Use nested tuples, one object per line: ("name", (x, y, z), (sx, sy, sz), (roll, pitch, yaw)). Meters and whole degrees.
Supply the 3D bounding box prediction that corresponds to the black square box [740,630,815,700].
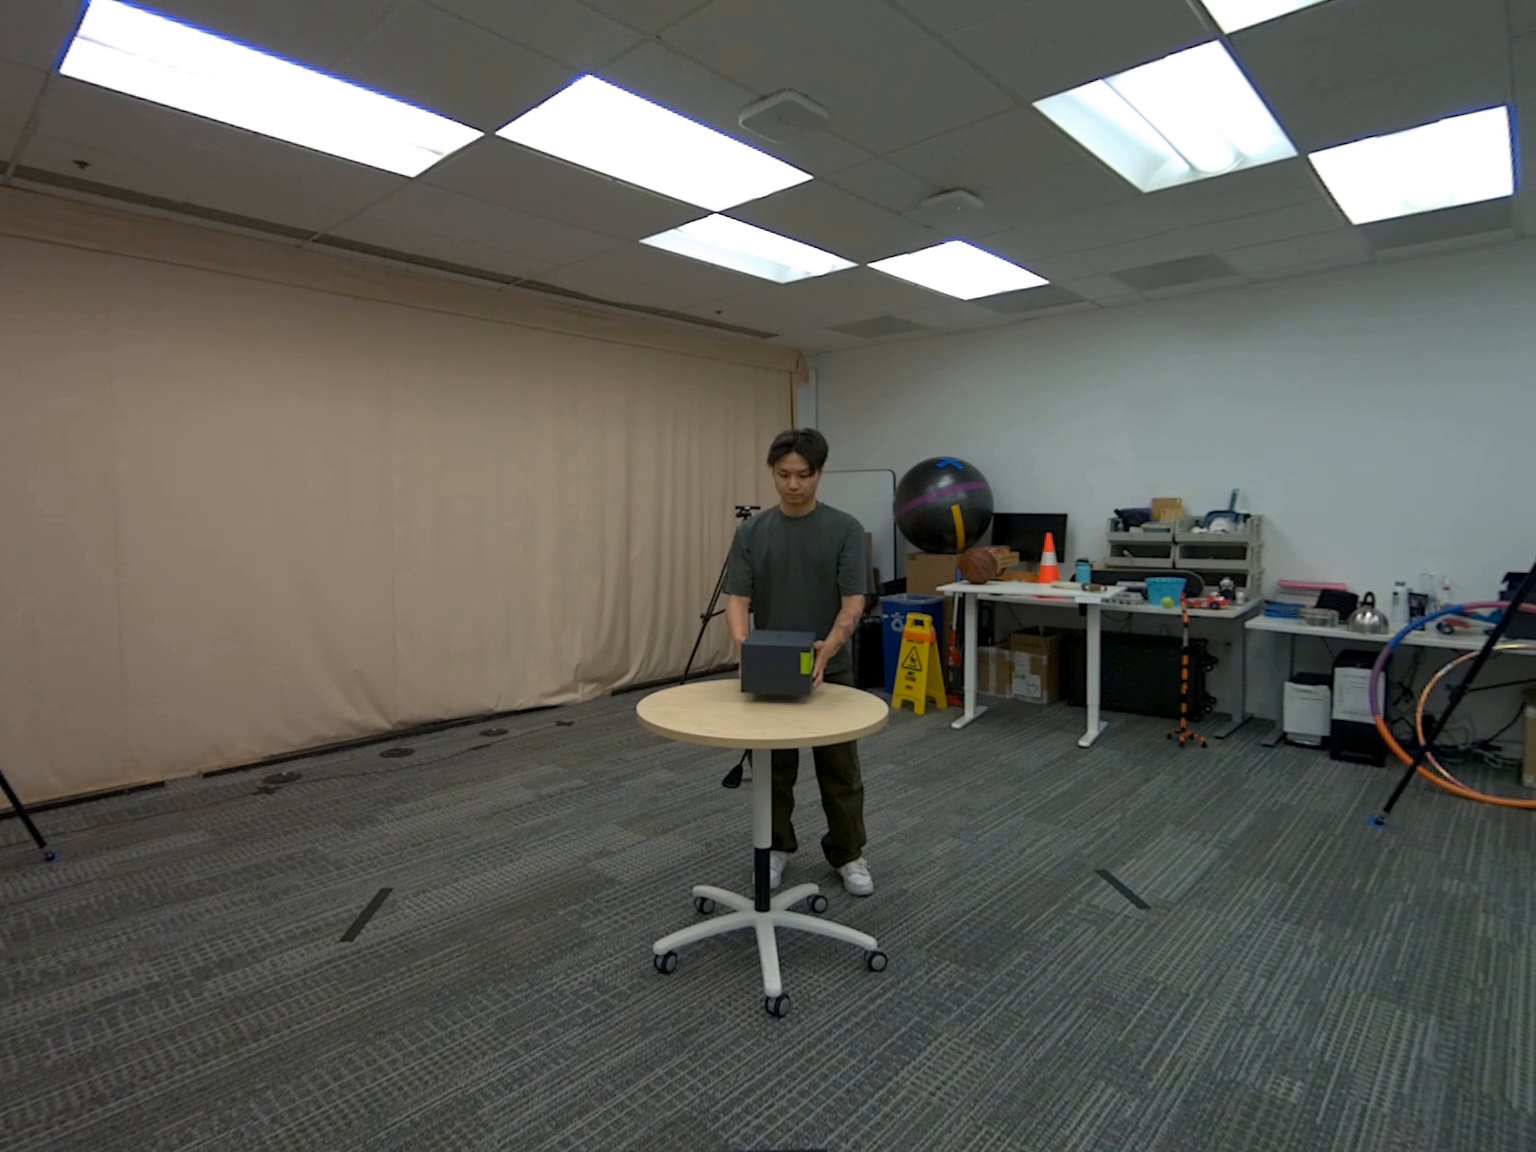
("black square box", (0.035, 0.268, 2.677), (0.219, 0.155, 0.226), (-1, 6, 10))
